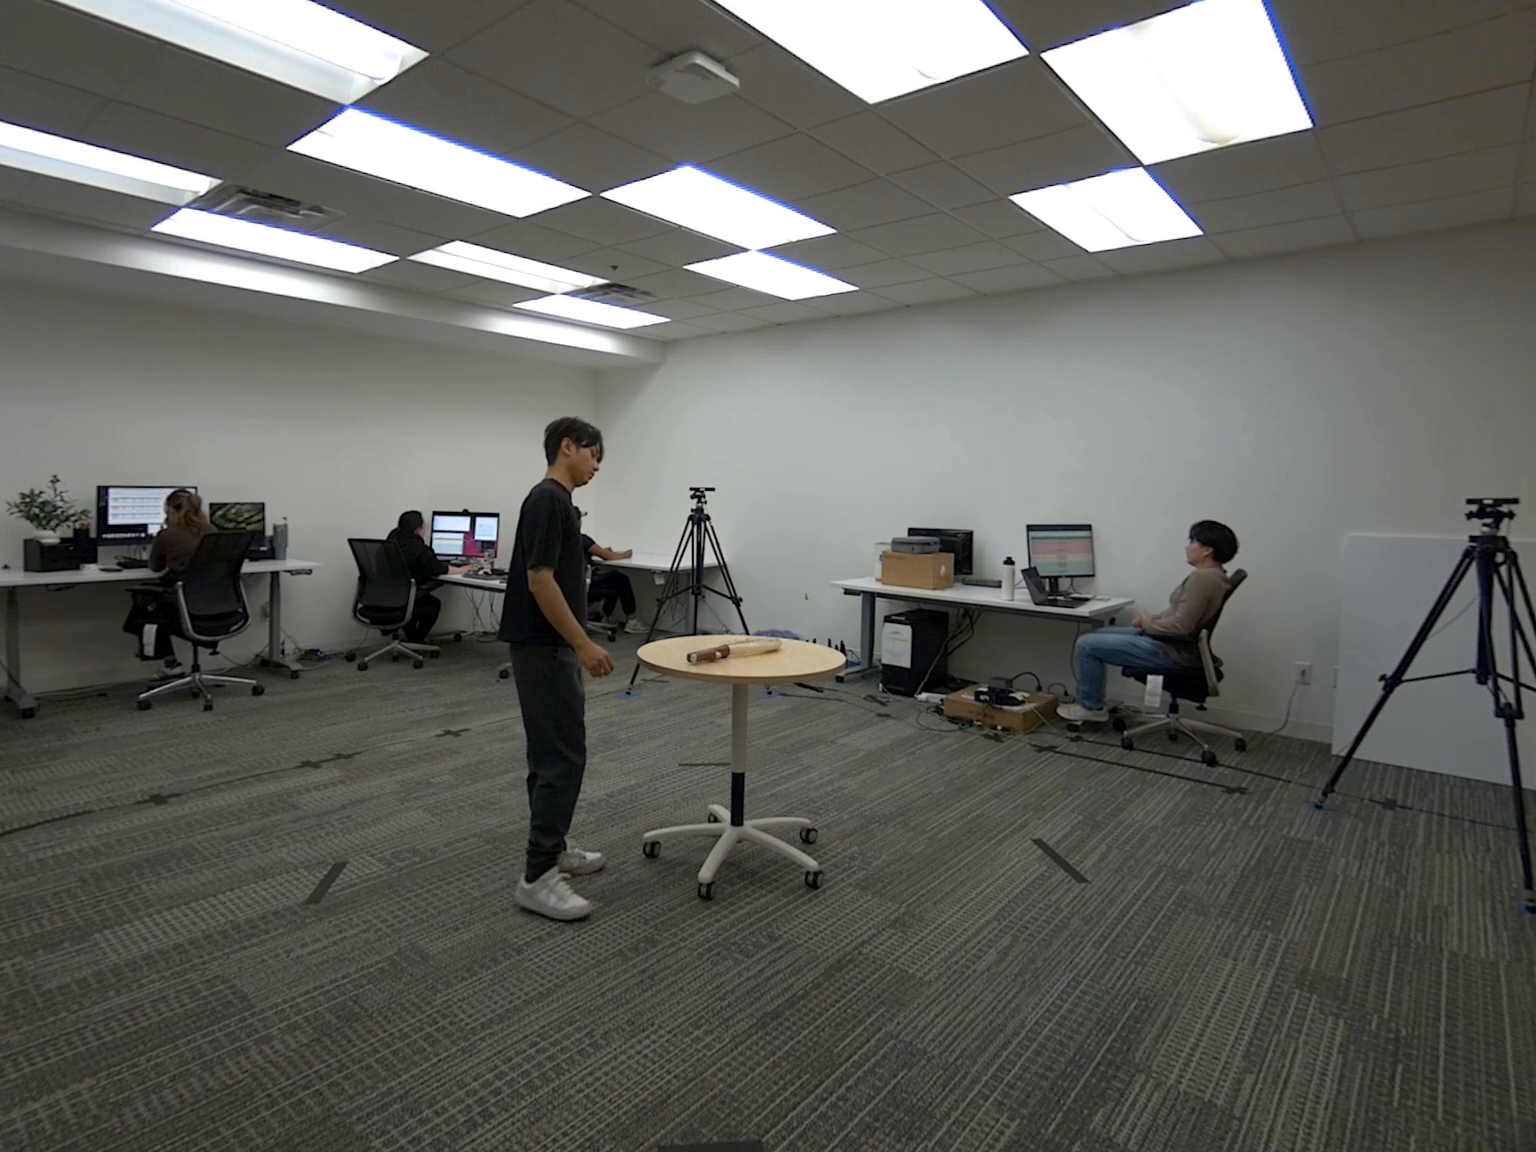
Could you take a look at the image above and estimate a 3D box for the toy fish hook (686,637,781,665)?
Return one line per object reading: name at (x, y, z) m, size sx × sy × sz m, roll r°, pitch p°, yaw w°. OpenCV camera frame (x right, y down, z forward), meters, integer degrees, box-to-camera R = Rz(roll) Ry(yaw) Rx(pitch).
toy fish hook at (-0.162, 0.273, 3.123) m, size 0.231 × 0.048 × 0.491 m, roll -1°, pitch 2°, yaw 41°
